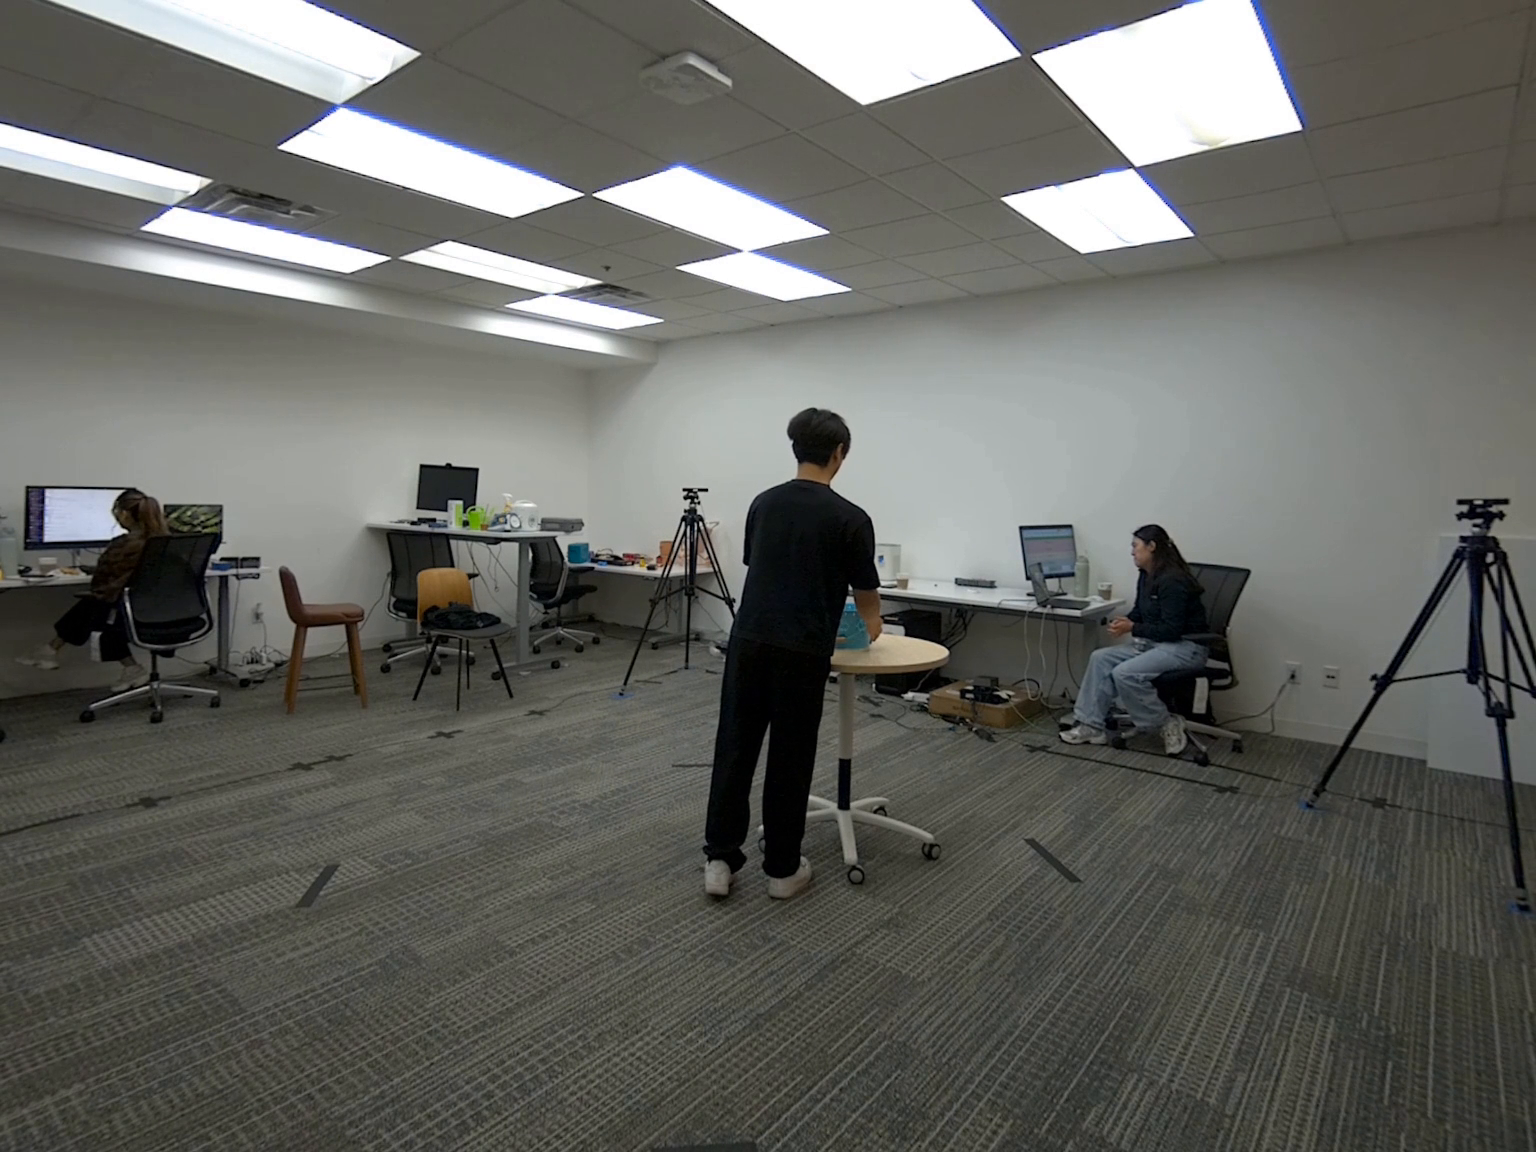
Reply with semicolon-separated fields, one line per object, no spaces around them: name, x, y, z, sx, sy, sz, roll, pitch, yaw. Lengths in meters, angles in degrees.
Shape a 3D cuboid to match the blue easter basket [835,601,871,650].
blue easter basket;0.301;0.193;3.366;0.243;0.155;0.245;1;5;-2
